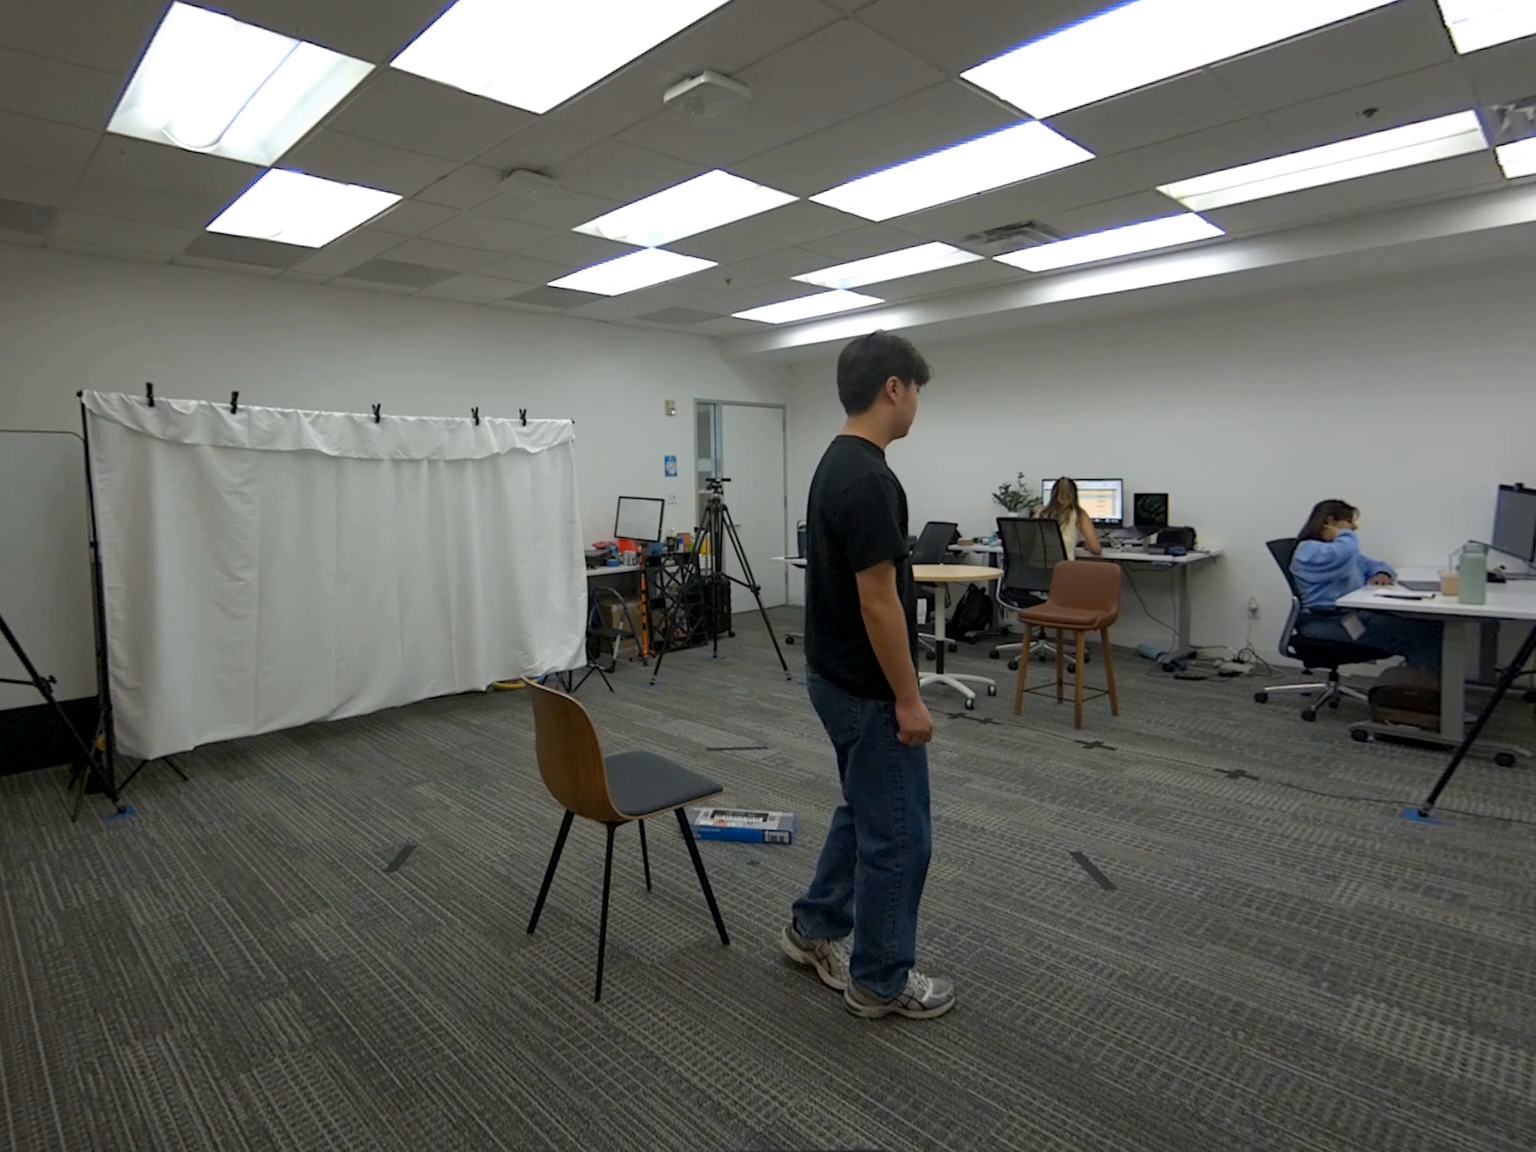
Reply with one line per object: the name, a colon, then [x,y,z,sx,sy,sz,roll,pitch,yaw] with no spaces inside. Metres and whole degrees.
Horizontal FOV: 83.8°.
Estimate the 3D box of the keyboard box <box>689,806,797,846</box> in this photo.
keyboard box: [-0.113,0.985,3.371,0.441,0.059,0.175,0,7,10]
